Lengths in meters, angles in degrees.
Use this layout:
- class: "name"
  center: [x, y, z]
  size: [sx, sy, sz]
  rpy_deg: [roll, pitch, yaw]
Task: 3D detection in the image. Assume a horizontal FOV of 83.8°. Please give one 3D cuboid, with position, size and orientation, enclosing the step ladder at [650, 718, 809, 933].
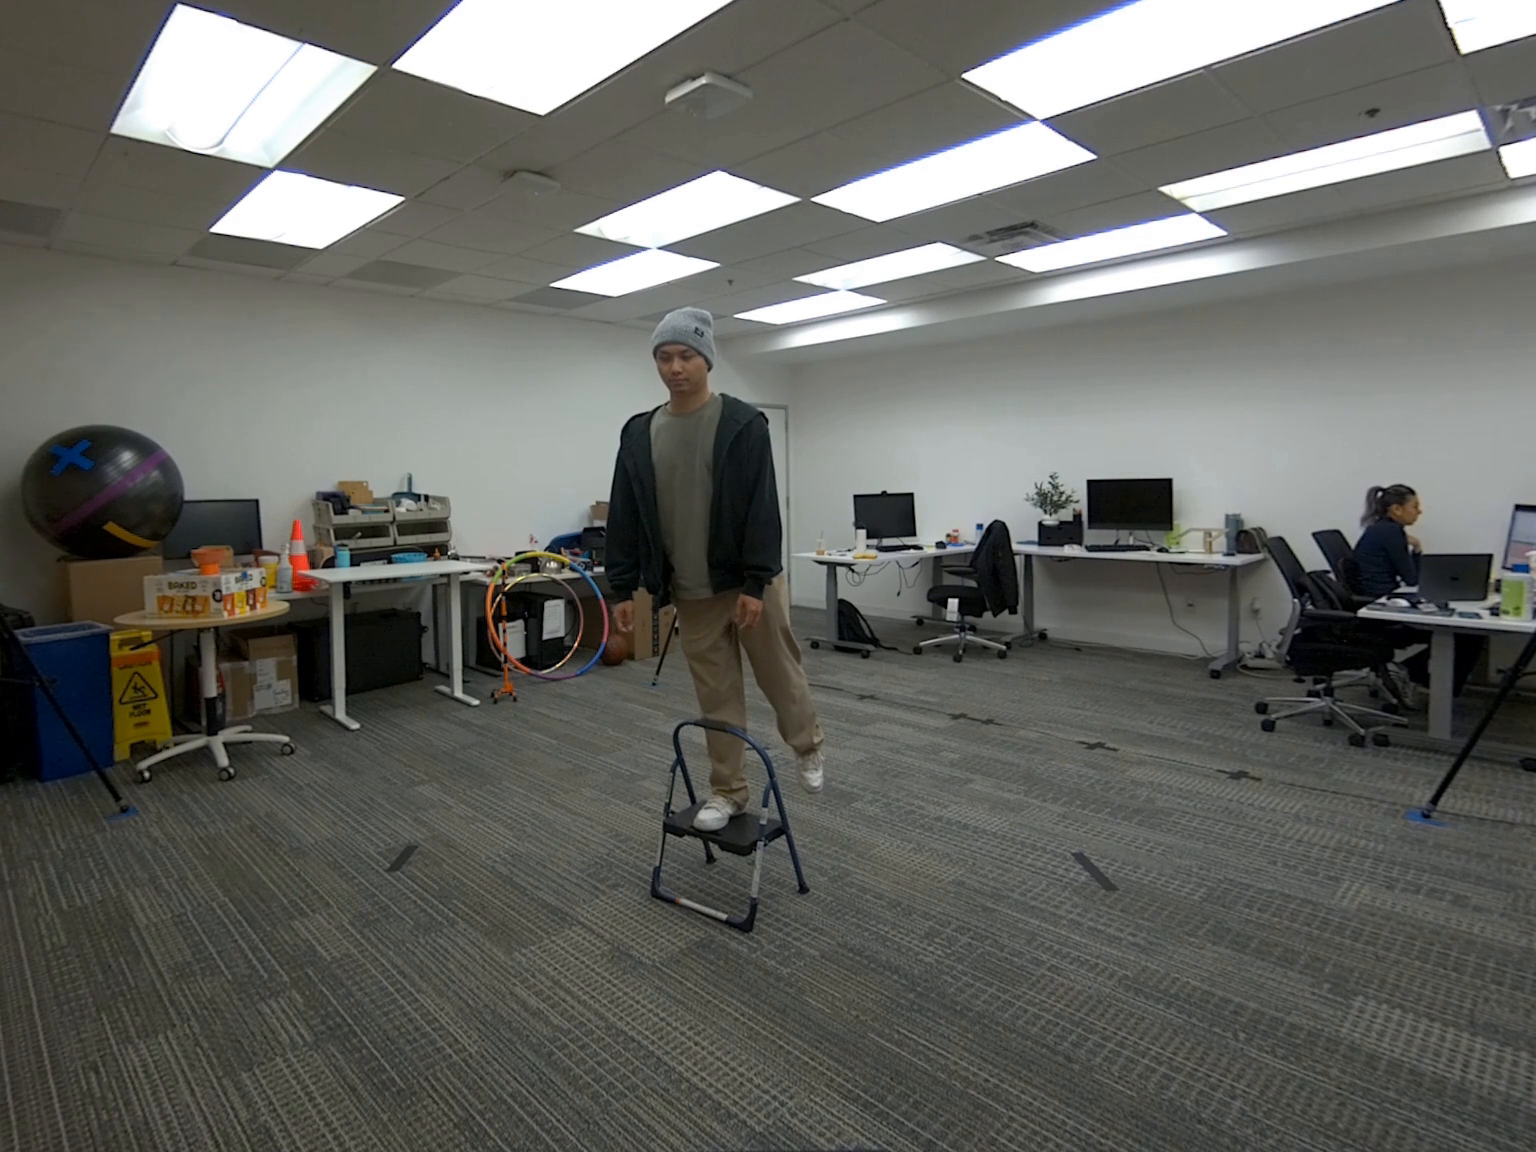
- class: "step ladder"
  center: [-0.135, 0.772, 2.864]
  size: [0.443, 0.604, 0.341]
  rpy_deg: [2, 6, 35]
